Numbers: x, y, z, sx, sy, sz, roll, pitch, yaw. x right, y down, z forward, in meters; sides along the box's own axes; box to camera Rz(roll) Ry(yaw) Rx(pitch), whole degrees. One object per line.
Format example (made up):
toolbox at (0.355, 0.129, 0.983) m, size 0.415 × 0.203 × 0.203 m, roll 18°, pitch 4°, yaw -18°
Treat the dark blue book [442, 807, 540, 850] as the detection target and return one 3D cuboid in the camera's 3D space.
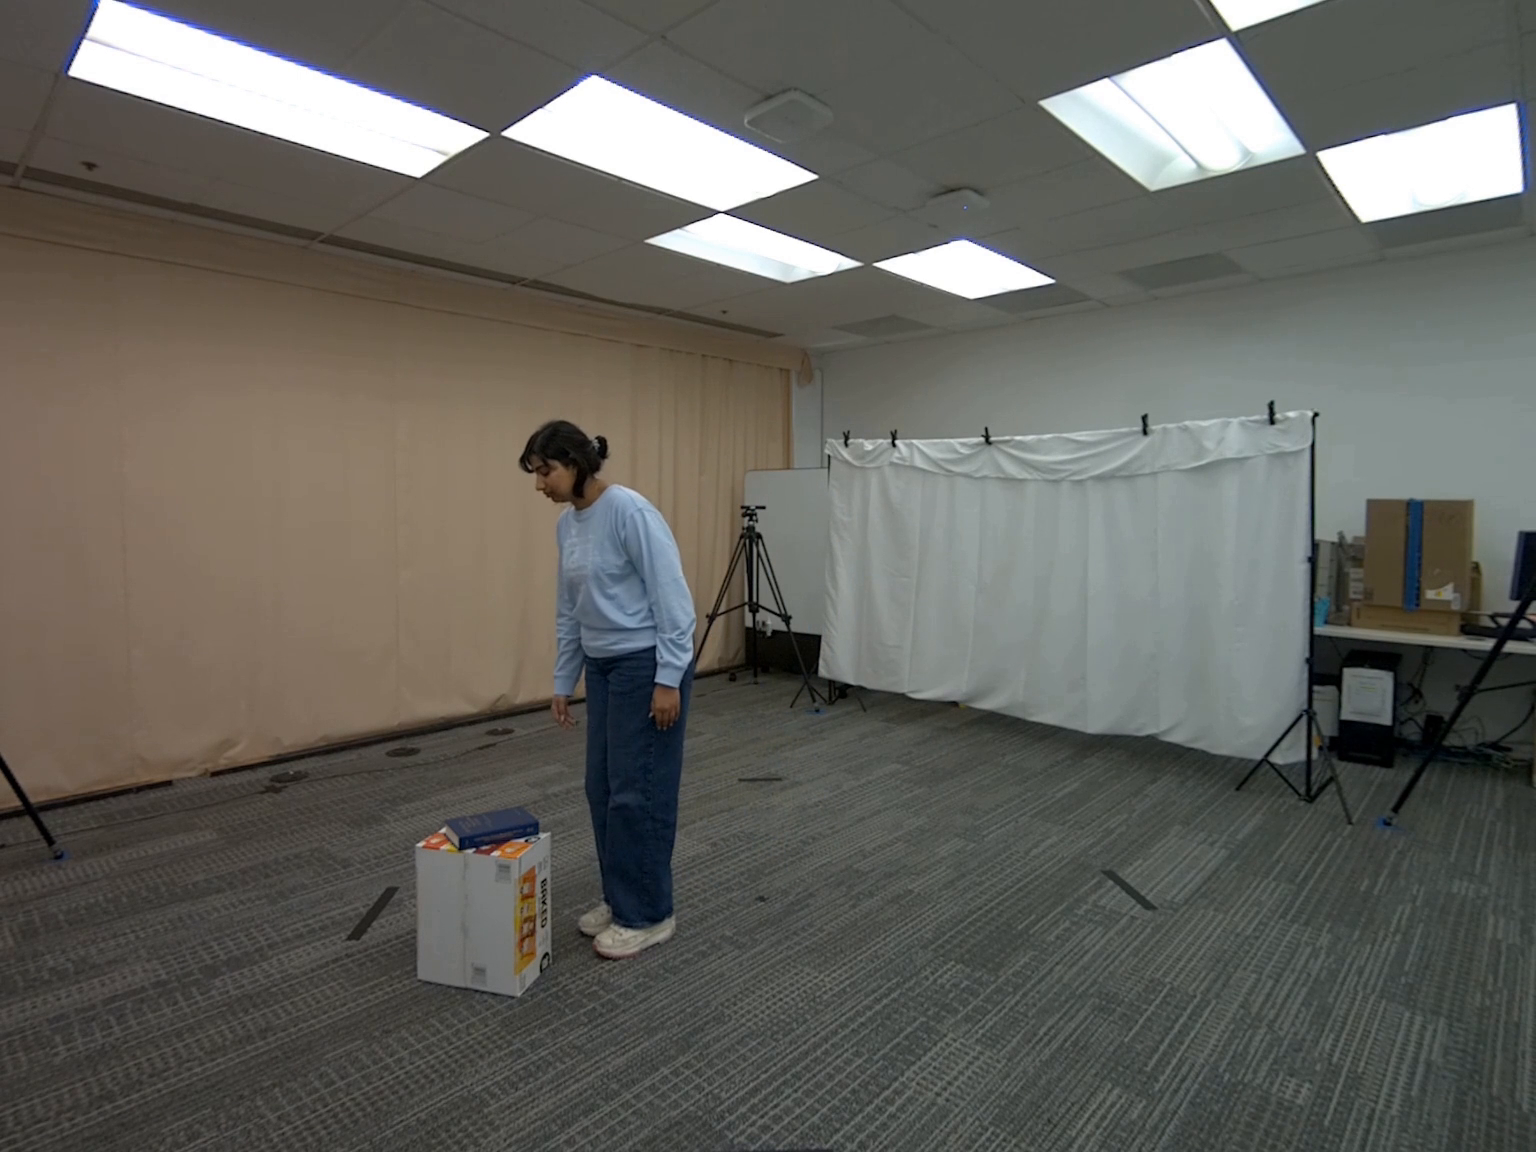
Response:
dark blue book at (-0.829, 0.757, 2.548) m, size 0.238 × 0.045 × 0.168 m, roll -2°, pitch 4°, yaw -35°
